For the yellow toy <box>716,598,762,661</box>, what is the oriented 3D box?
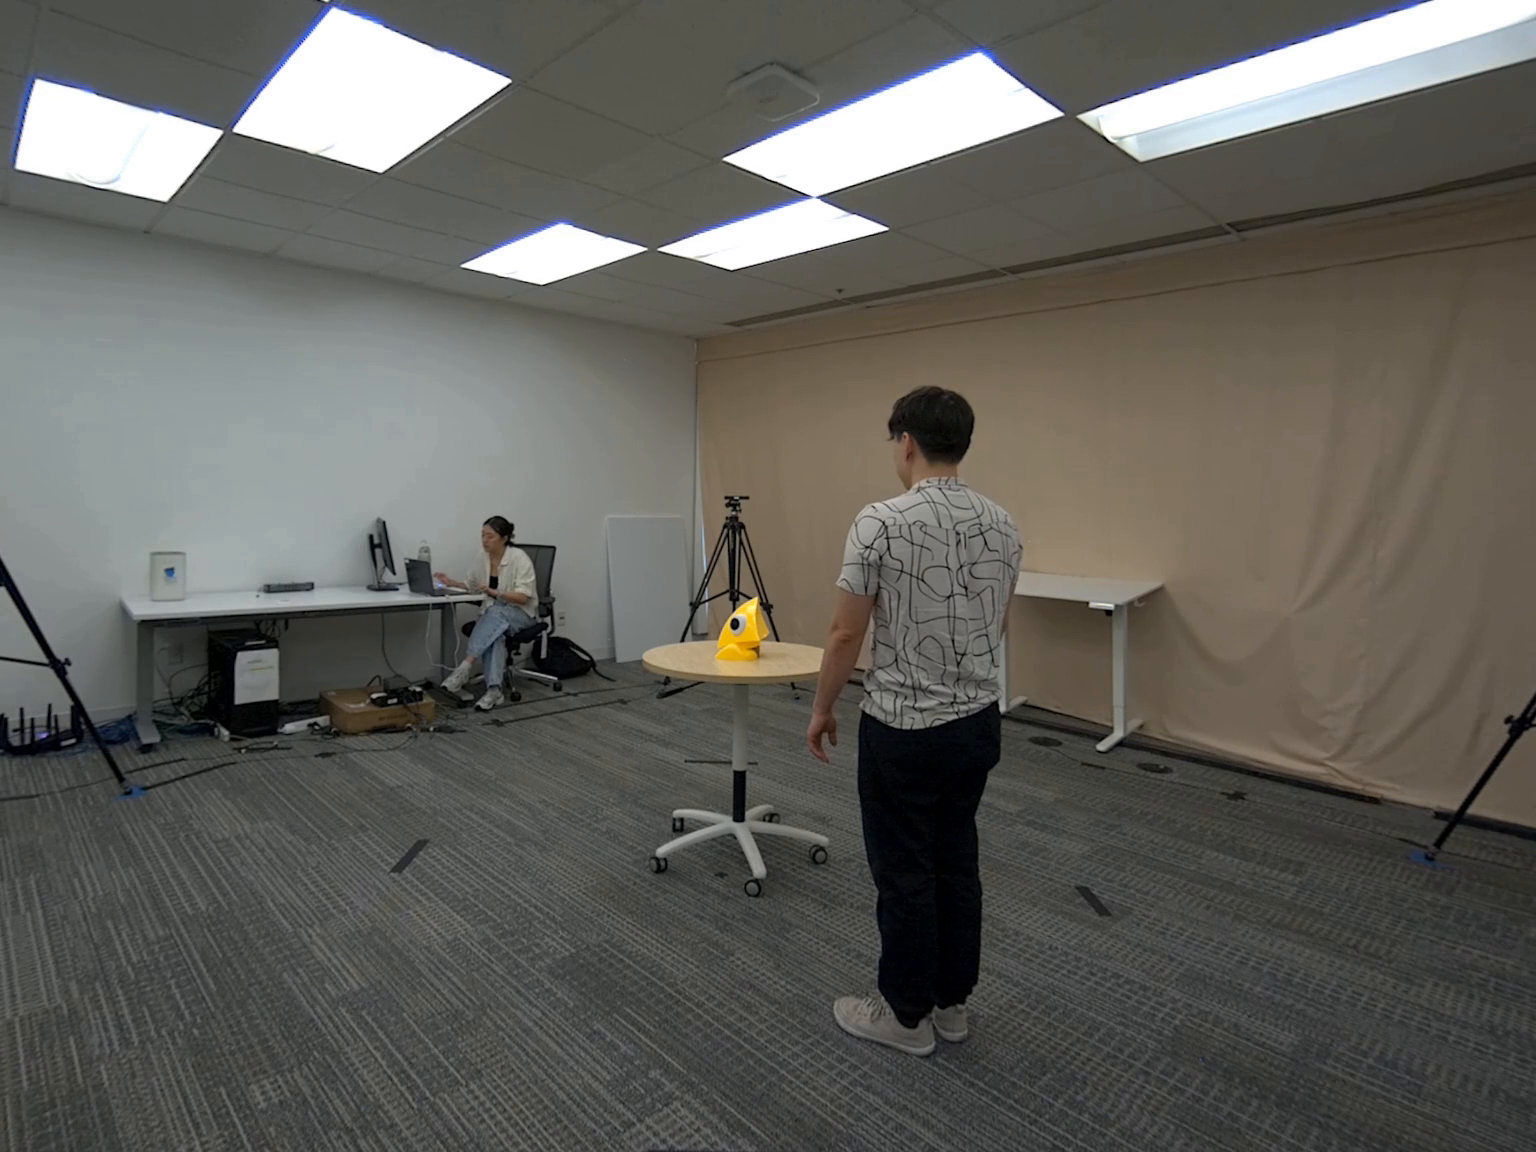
[{"bbox_3d":[-0.110,0.195,3.243,0.195,0.230,0.203,3,4,13],"label":"yellow toy"}]
